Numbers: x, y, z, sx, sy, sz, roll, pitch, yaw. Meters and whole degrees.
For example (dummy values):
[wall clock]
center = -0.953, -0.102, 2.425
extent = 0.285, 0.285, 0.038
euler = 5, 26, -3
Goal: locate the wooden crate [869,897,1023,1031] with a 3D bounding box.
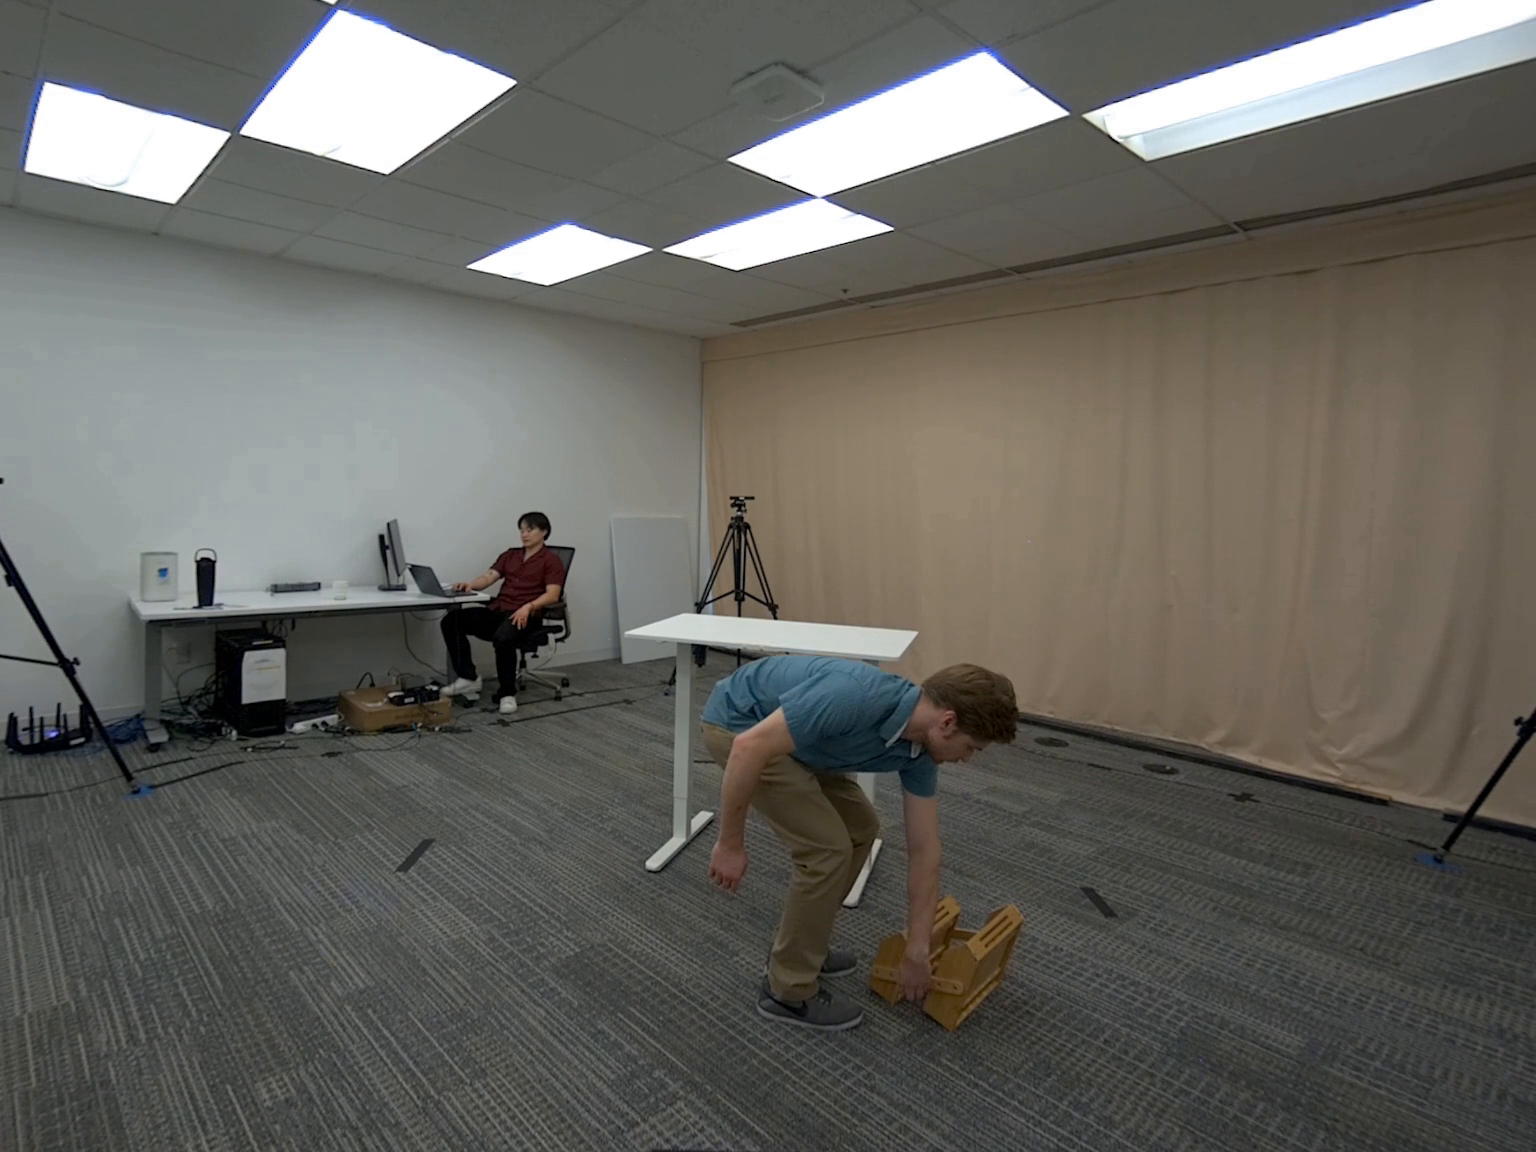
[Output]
[wooden crate]
center = 0.494, 1.055, 2.384
extent = 0.281, 0.300, 0.317
euler = 25, 18, 34
